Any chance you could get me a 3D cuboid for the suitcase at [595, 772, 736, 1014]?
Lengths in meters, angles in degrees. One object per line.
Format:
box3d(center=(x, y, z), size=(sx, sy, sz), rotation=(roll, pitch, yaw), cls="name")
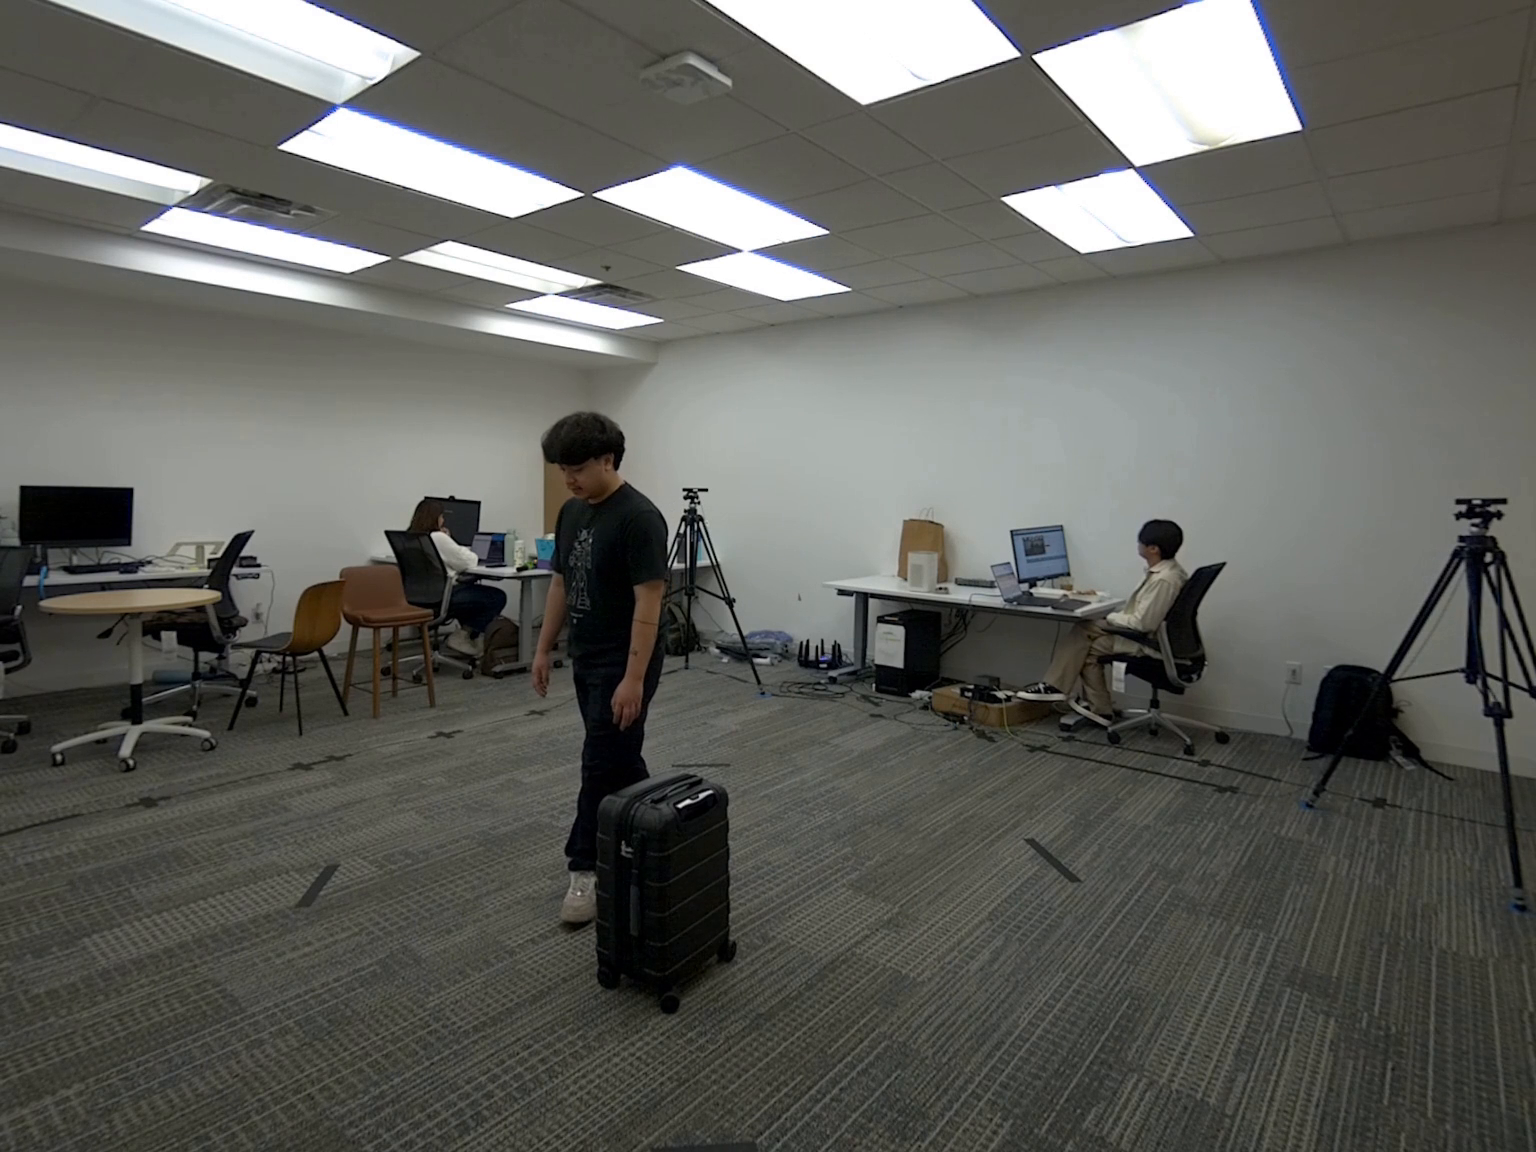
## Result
box3d(center=(-0.299, 0.860, 2.426), size=(0.256, 0.548, 0.365), rotation=(1, 4, 33), cls="suitcase")
